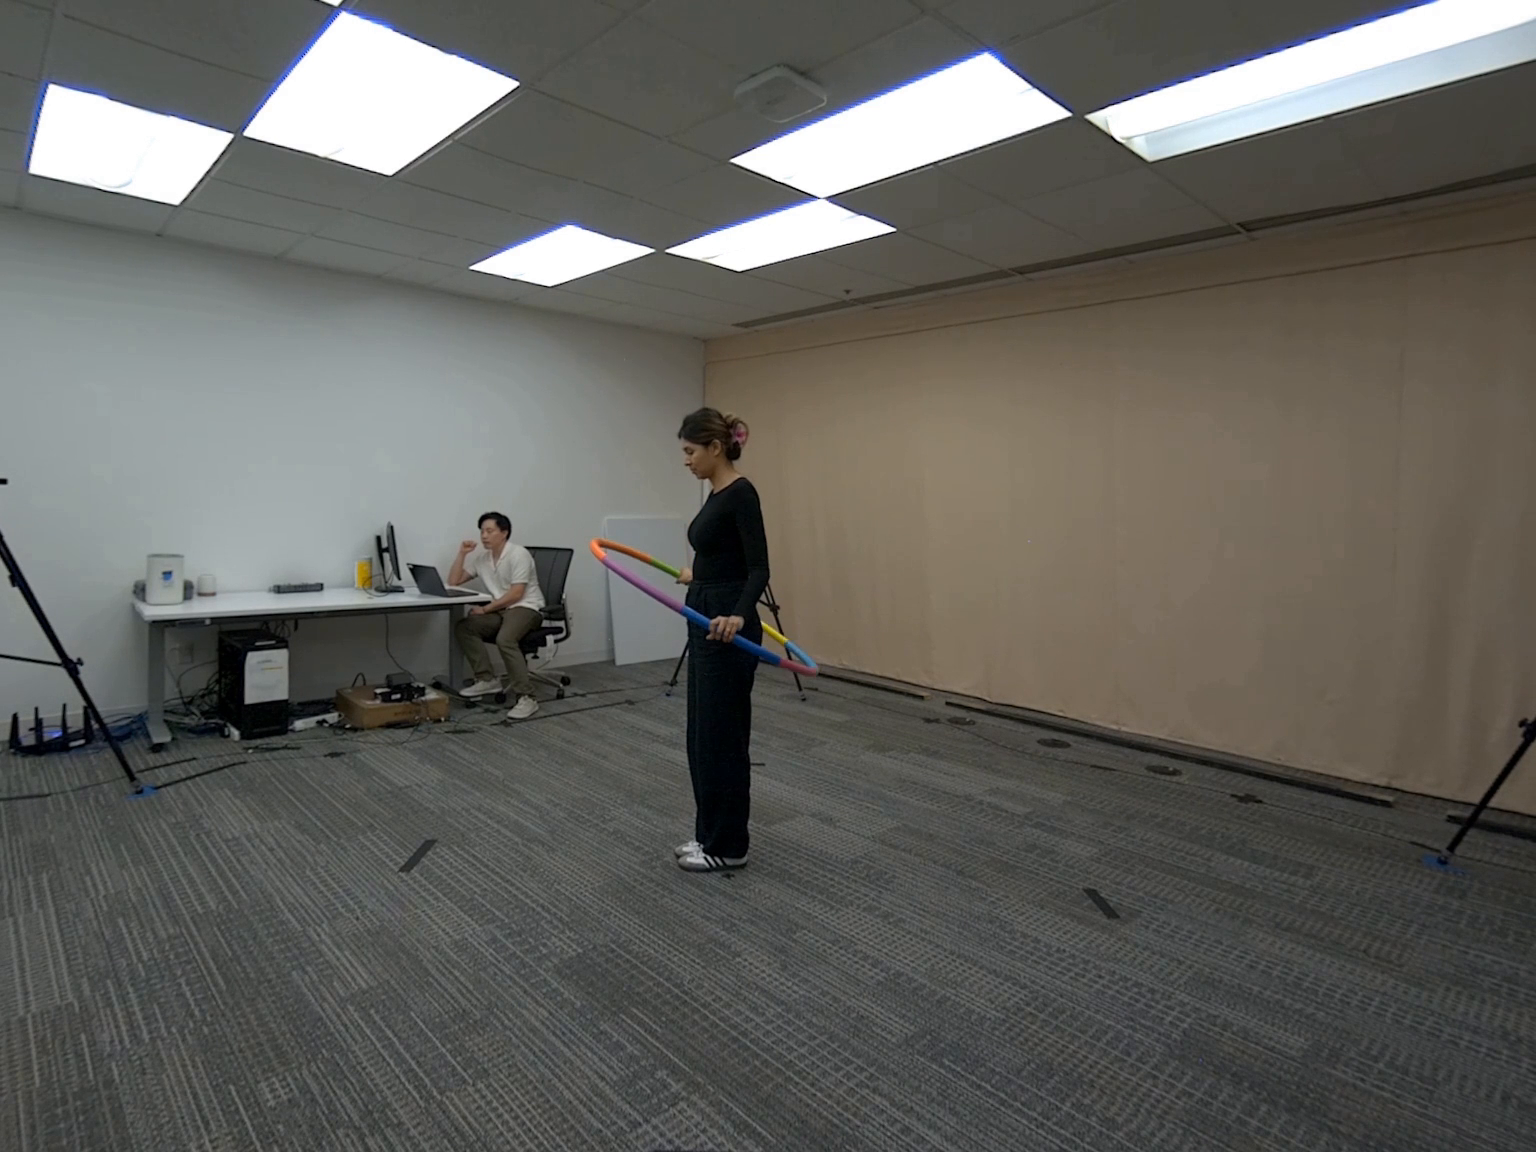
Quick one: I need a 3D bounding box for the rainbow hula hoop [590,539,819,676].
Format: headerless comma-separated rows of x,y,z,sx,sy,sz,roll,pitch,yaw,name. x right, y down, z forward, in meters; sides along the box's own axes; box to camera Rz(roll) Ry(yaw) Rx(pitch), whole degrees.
-0.233,0.110,3.187,0.976,0.035,0.982,29,3,-3,rainbow hula hoop
